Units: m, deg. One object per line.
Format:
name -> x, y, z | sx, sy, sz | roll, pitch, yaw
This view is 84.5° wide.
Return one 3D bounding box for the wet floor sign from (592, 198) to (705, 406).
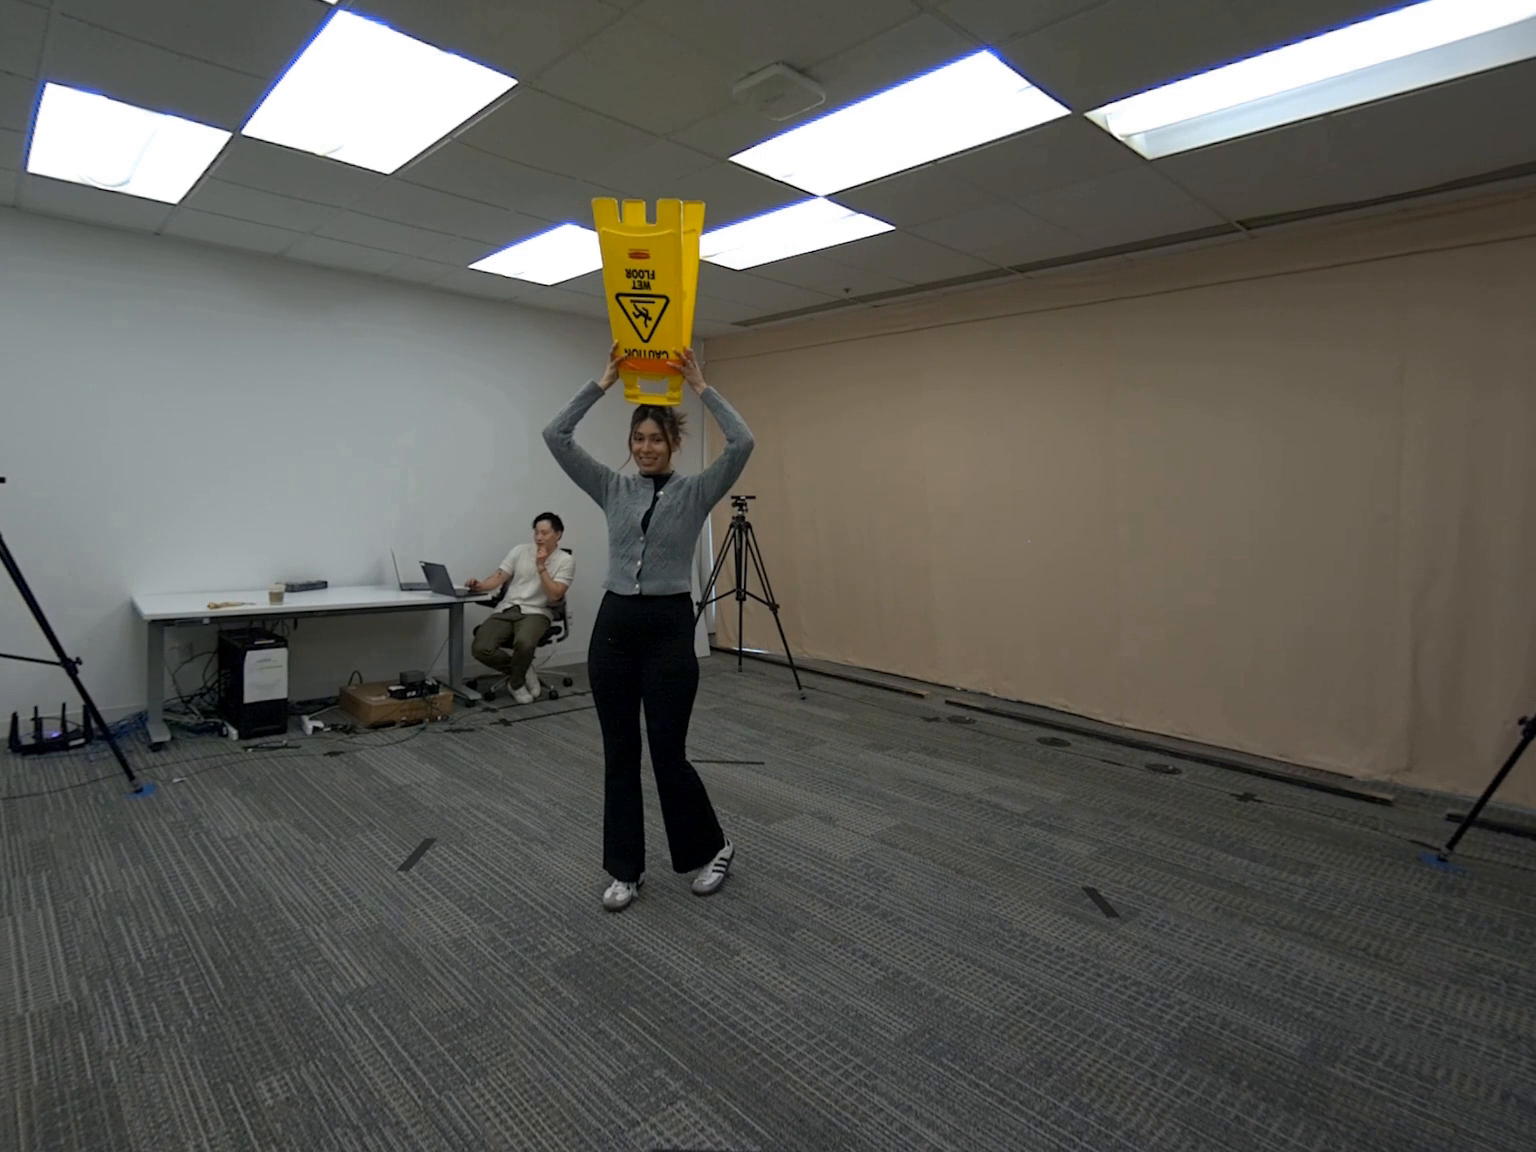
wet floor sign -> -0.384, -0.881, 2.739 | 0.285, 0.637, 0.291 | 7, 23, 10
